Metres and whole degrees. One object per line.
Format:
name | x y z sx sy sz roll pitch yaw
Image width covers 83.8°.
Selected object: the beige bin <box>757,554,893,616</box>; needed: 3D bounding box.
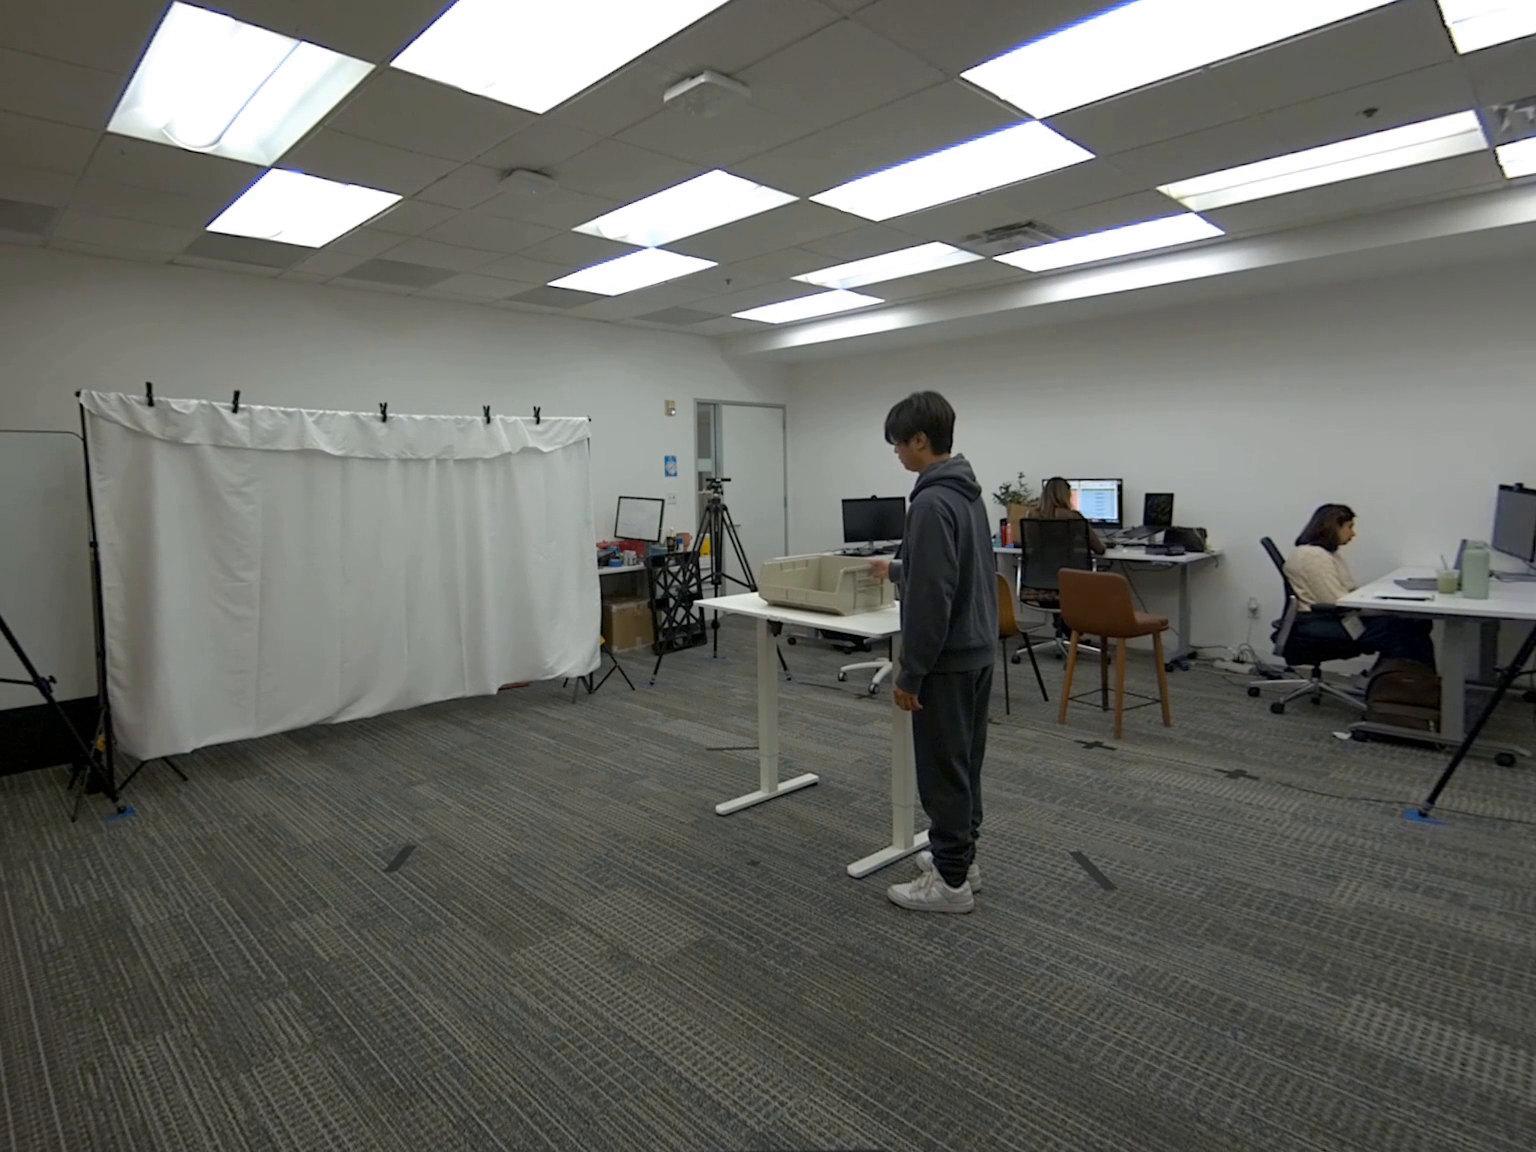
beige bin | 0.239 0.032 3.389 0.367 0.188 0.435 -6 8 -43
